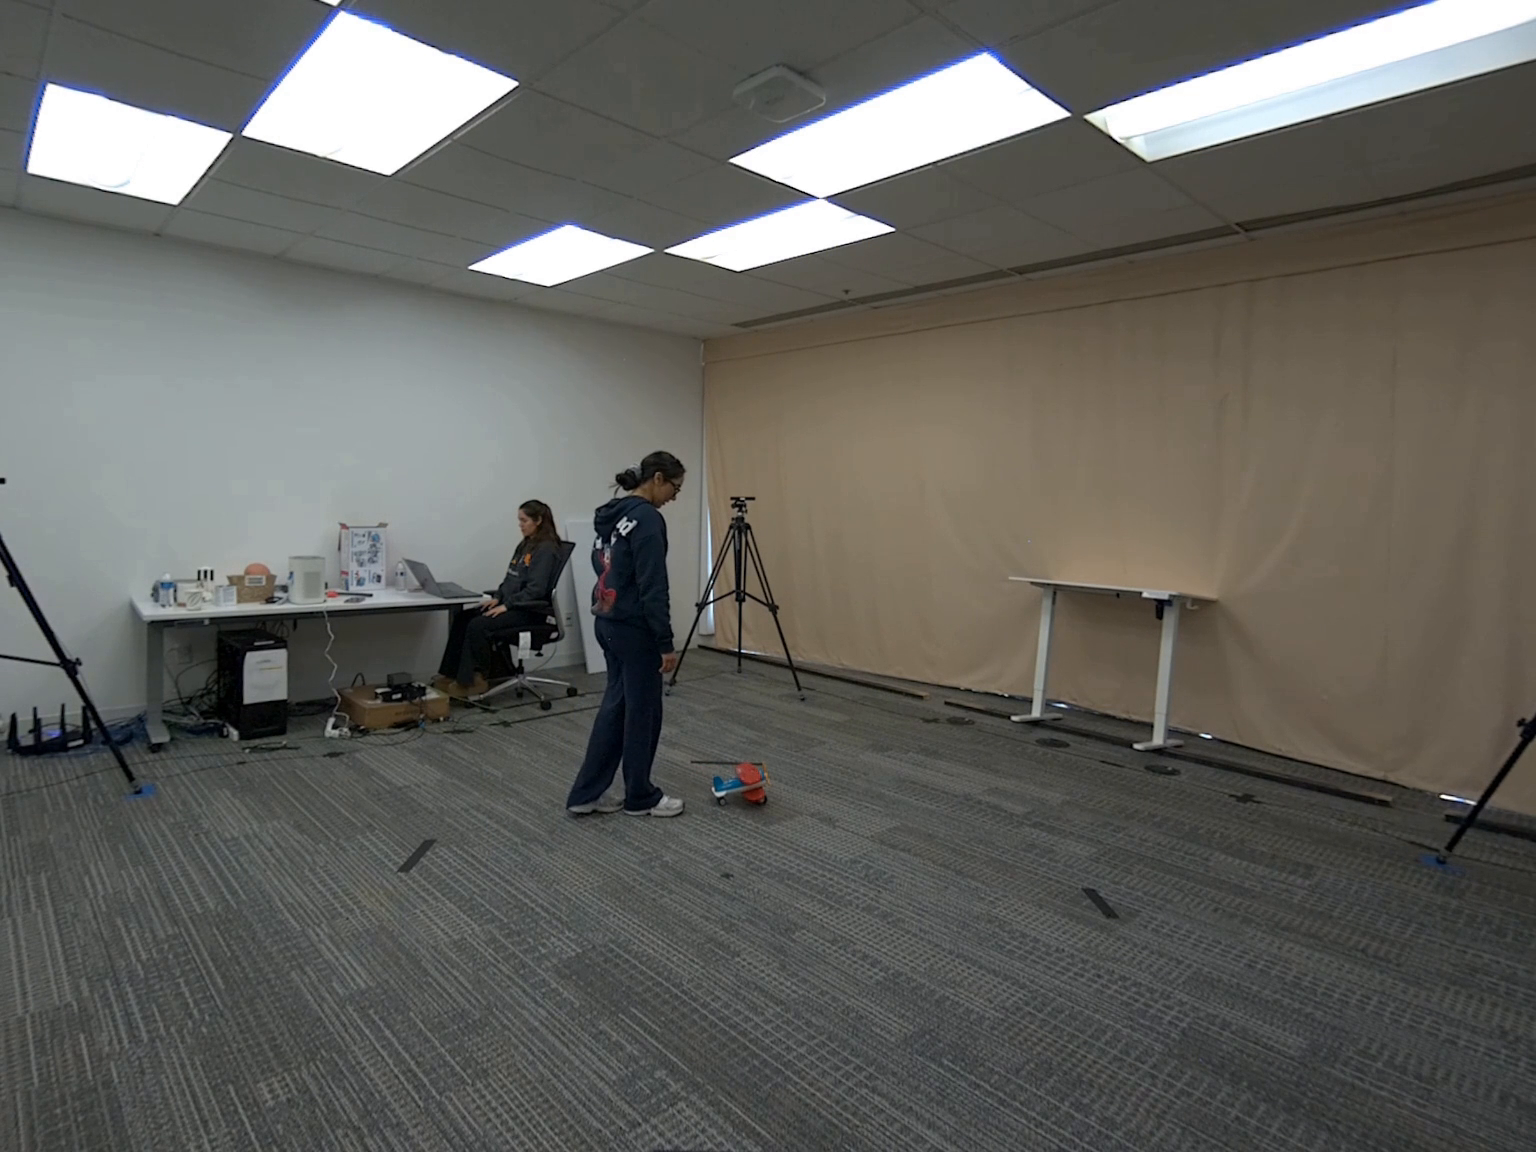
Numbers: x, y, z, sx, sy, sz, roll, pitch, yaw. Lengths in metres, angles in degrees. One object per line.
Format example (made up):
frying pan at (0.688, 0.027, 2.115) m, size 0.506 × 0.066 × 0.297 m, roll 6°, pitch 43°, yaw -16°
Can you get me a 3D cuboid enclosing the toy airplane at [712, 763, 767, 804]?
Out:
toy airplane at (-0.130, 0.966, 3.850) m, size 0.253 × 0.156 × 0.257 m, roll 0°, pitch 4°, yaw -44°
